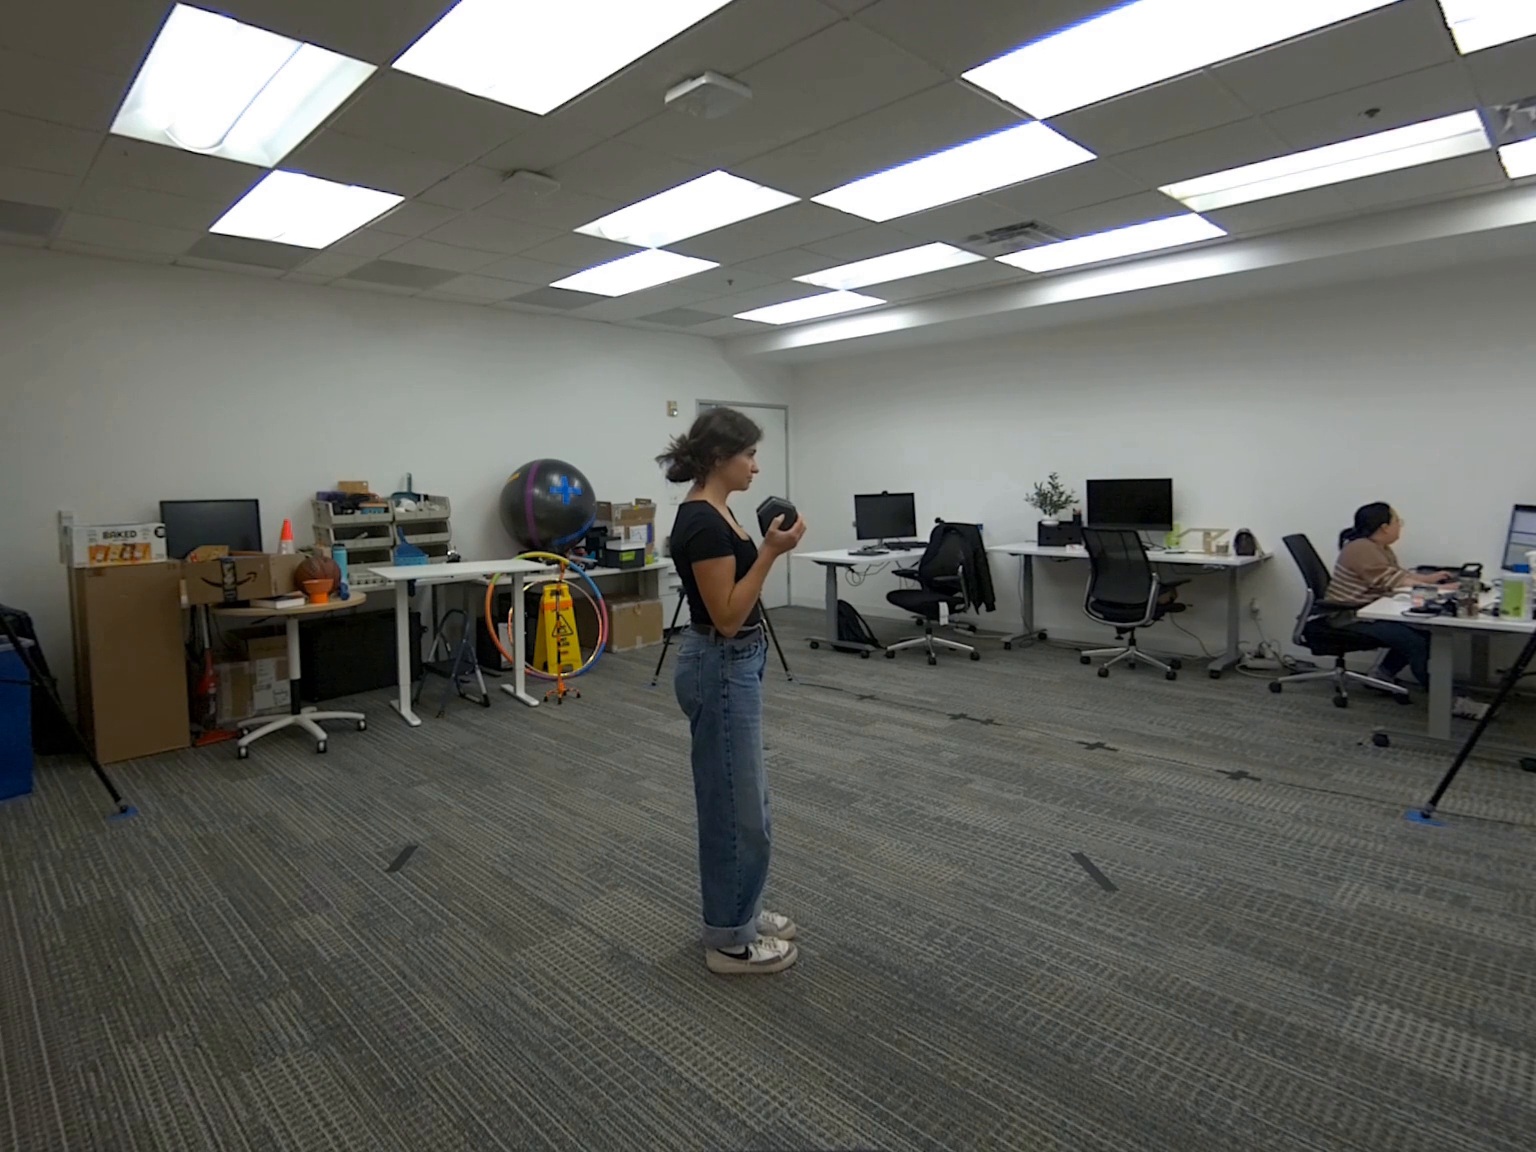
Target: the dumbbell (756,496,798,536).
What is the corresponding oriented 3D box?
[{"bbox_3d":[0.019,-0.167,2.448,0.109,0.122,0.294,-8,7,3],"label":"dumbbell"}]
